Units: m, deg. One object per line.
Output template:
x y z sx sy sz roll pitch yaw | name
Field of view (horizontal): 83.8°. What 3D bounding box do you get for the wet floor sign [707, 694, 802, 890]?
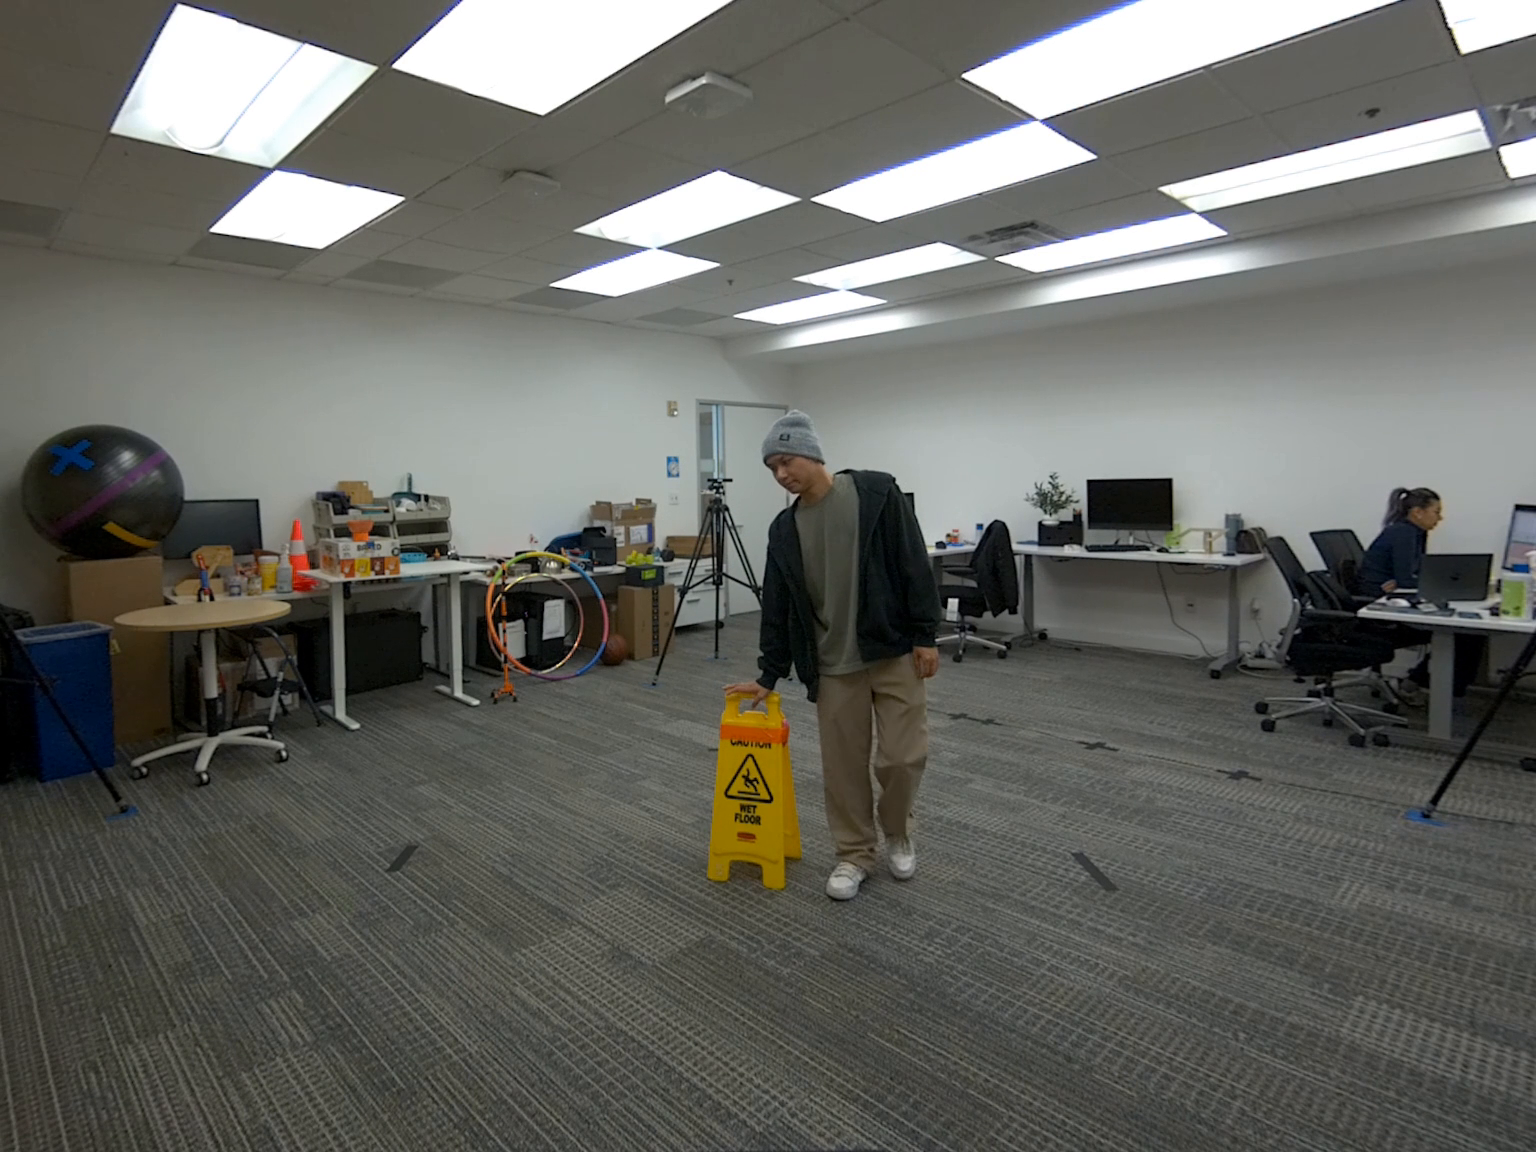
-0.051 0.723 3.045 0.287 0.643 0.286 -1 4 16 | wet floor sign
